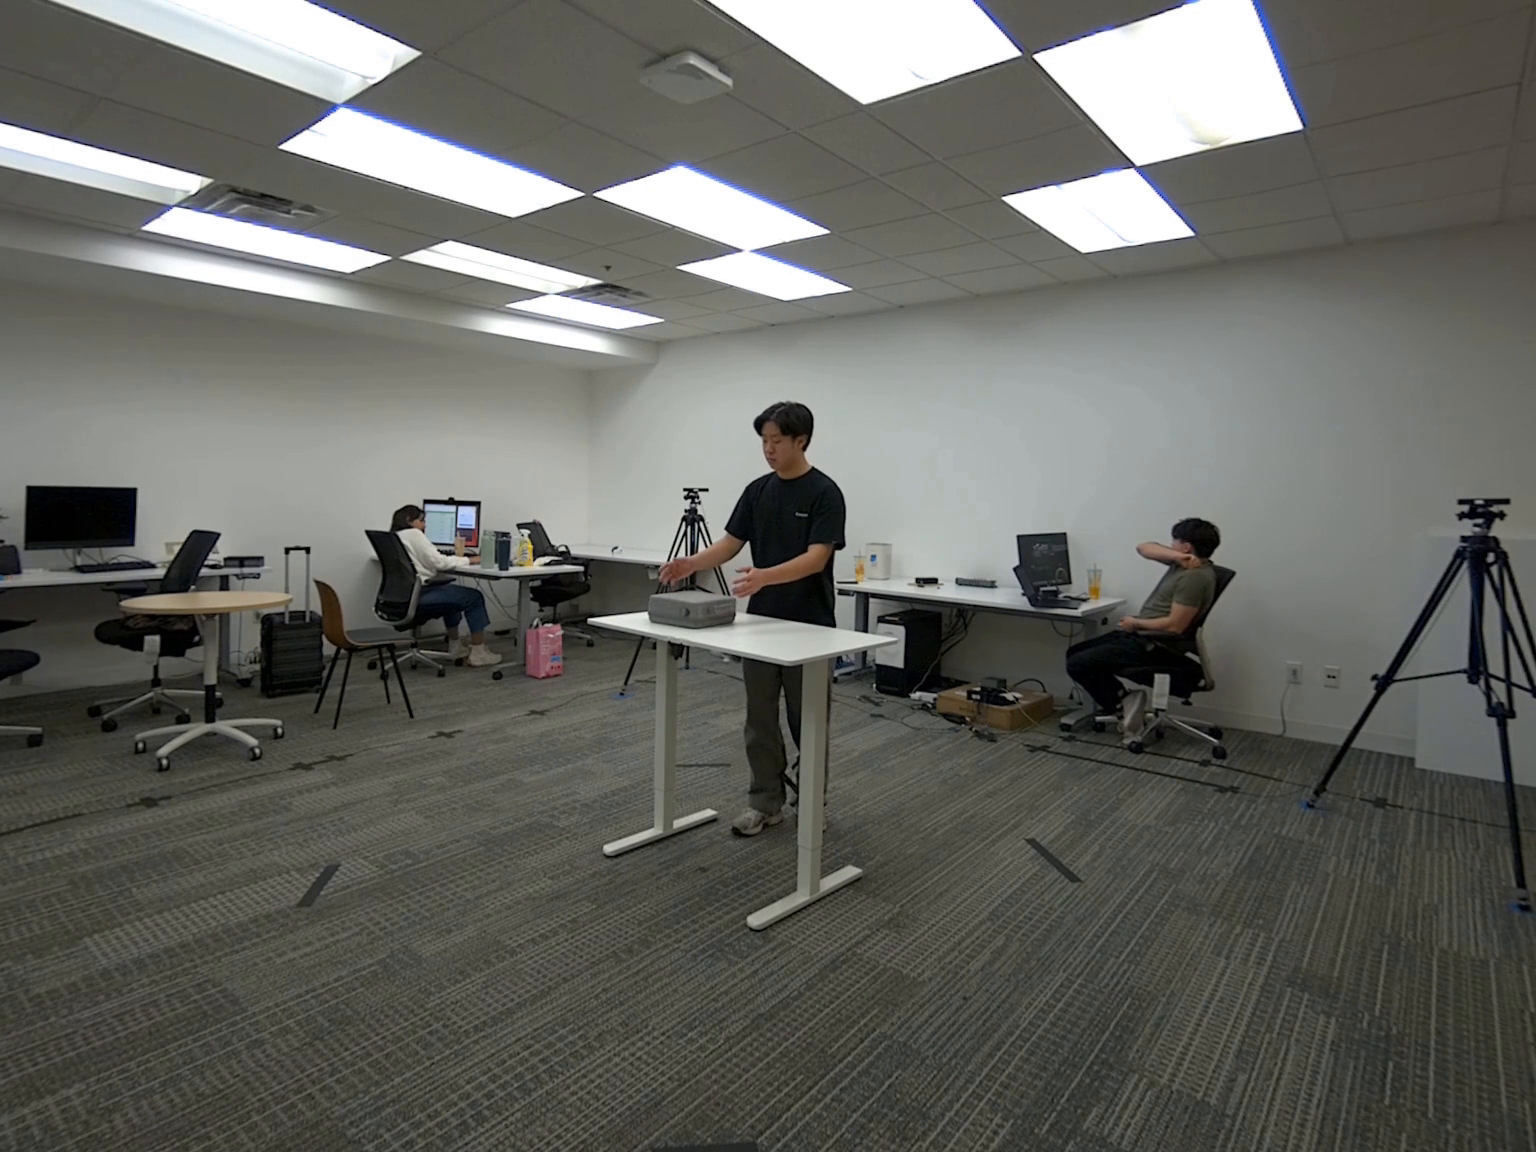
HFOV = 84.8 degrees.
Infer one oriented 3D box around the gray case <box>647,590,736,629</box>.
[{"bbox_3d":[-0.287,0.123,3.209,0.297,0.102,0.256,6,7,37],"label":"gray case"}]
